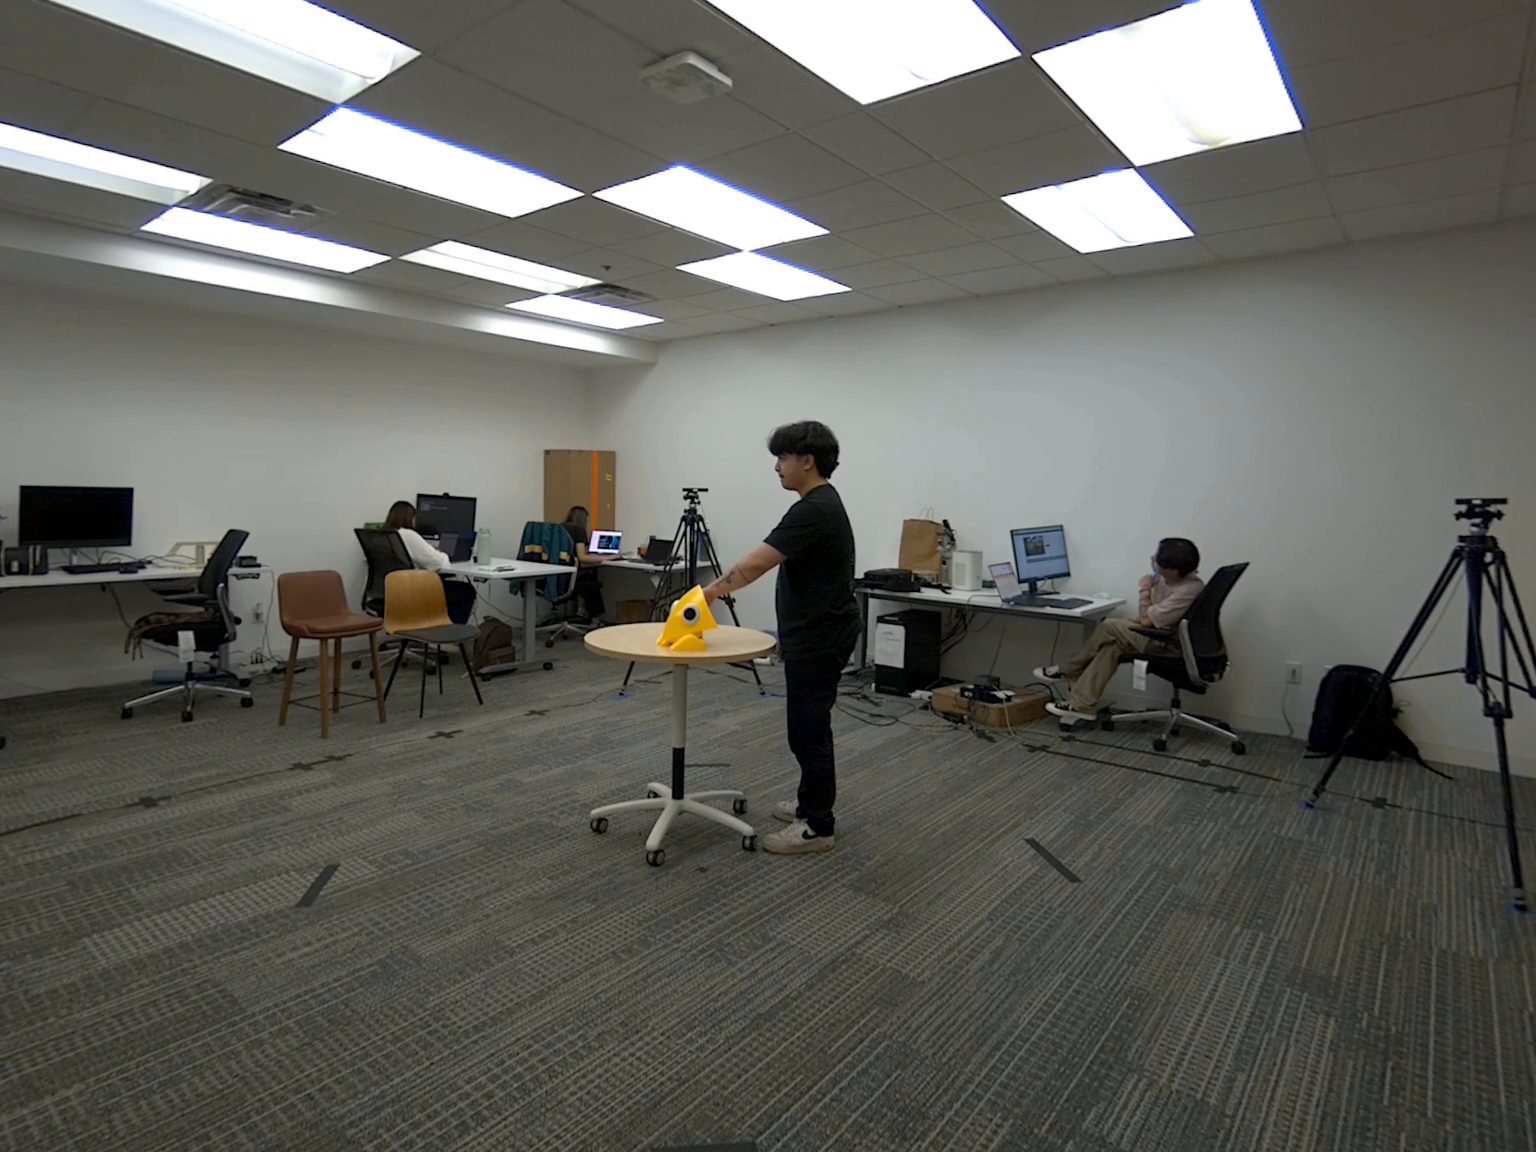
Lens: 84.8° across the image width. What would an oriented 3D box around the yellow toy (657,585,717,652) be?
[{"bbox_3d":[-0.327,0.149,3.245,0.188,0.230,0.211,-2,6,-31],"label":"yellow toy"}]
